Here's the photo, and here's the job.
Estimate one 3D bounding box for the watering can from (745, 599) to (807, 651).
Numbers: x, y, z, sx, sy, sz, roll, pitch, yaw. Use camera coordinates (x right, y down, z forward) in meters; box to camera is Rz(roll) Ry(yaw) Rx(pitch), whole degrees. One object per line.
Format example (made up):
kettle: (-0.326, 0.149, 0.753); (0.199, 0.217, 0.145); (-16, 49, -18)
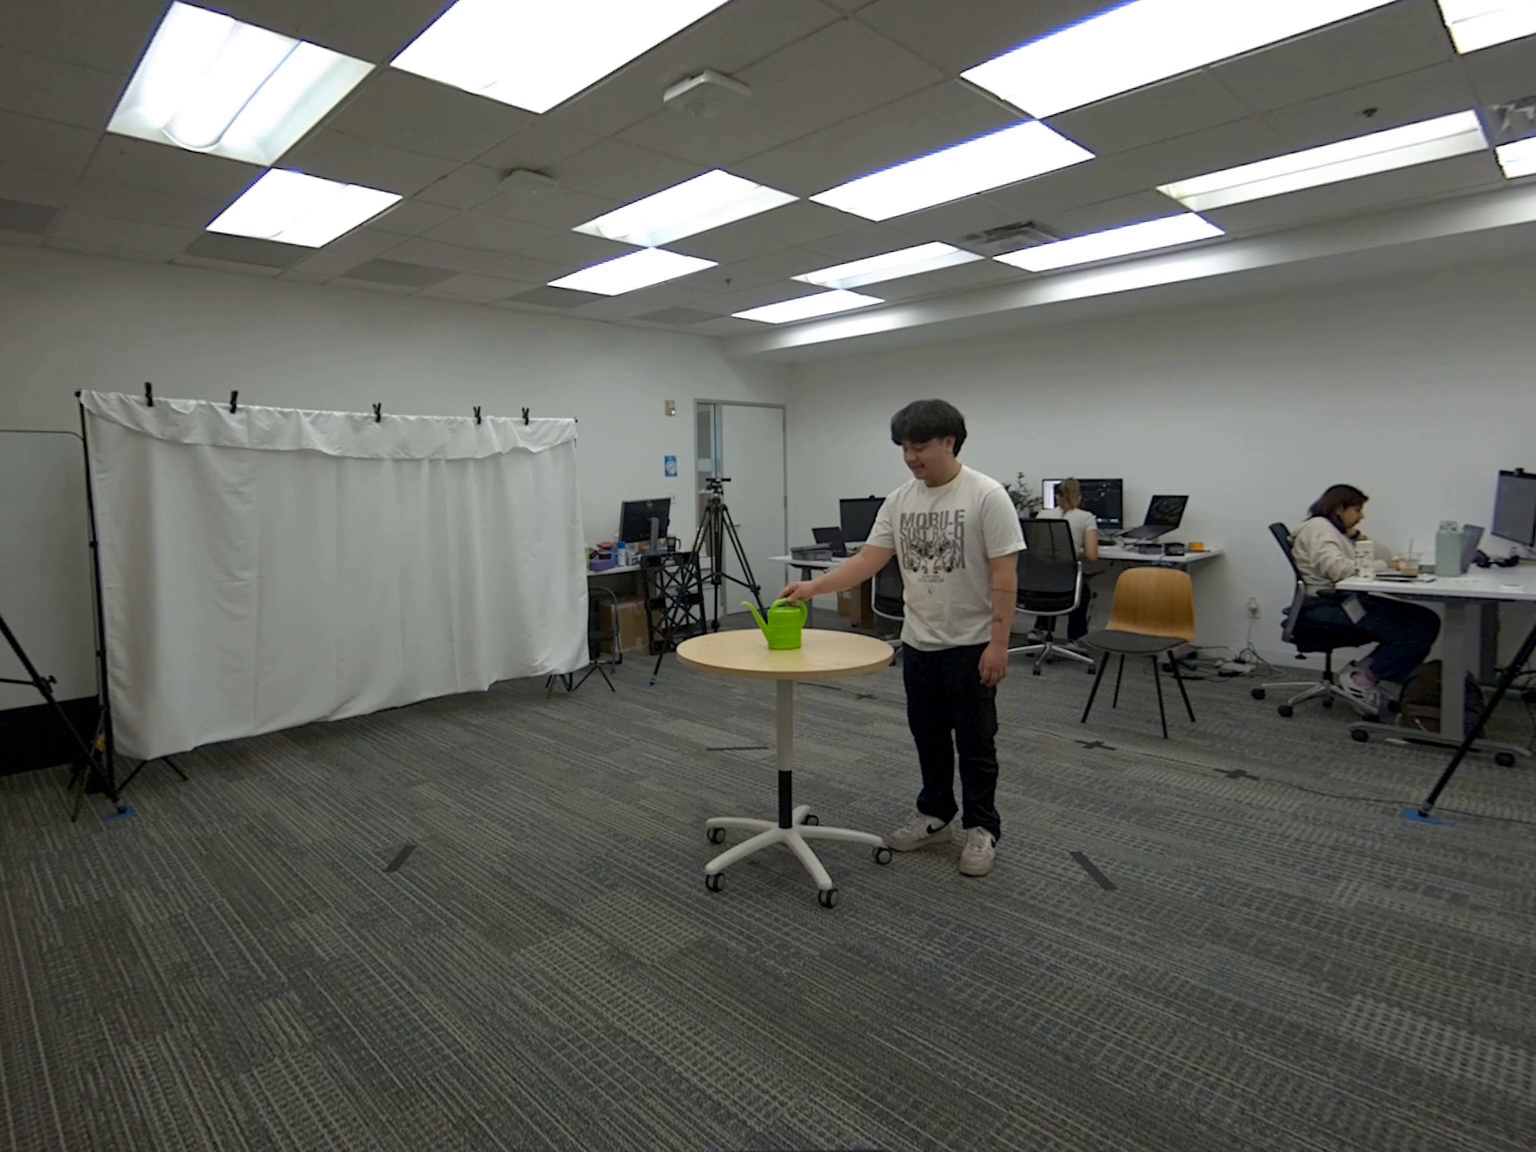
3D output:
watering can: (0.028, 0.168, 3.034); (0.273, 0.177, 0.100); (0, -1, -20)
